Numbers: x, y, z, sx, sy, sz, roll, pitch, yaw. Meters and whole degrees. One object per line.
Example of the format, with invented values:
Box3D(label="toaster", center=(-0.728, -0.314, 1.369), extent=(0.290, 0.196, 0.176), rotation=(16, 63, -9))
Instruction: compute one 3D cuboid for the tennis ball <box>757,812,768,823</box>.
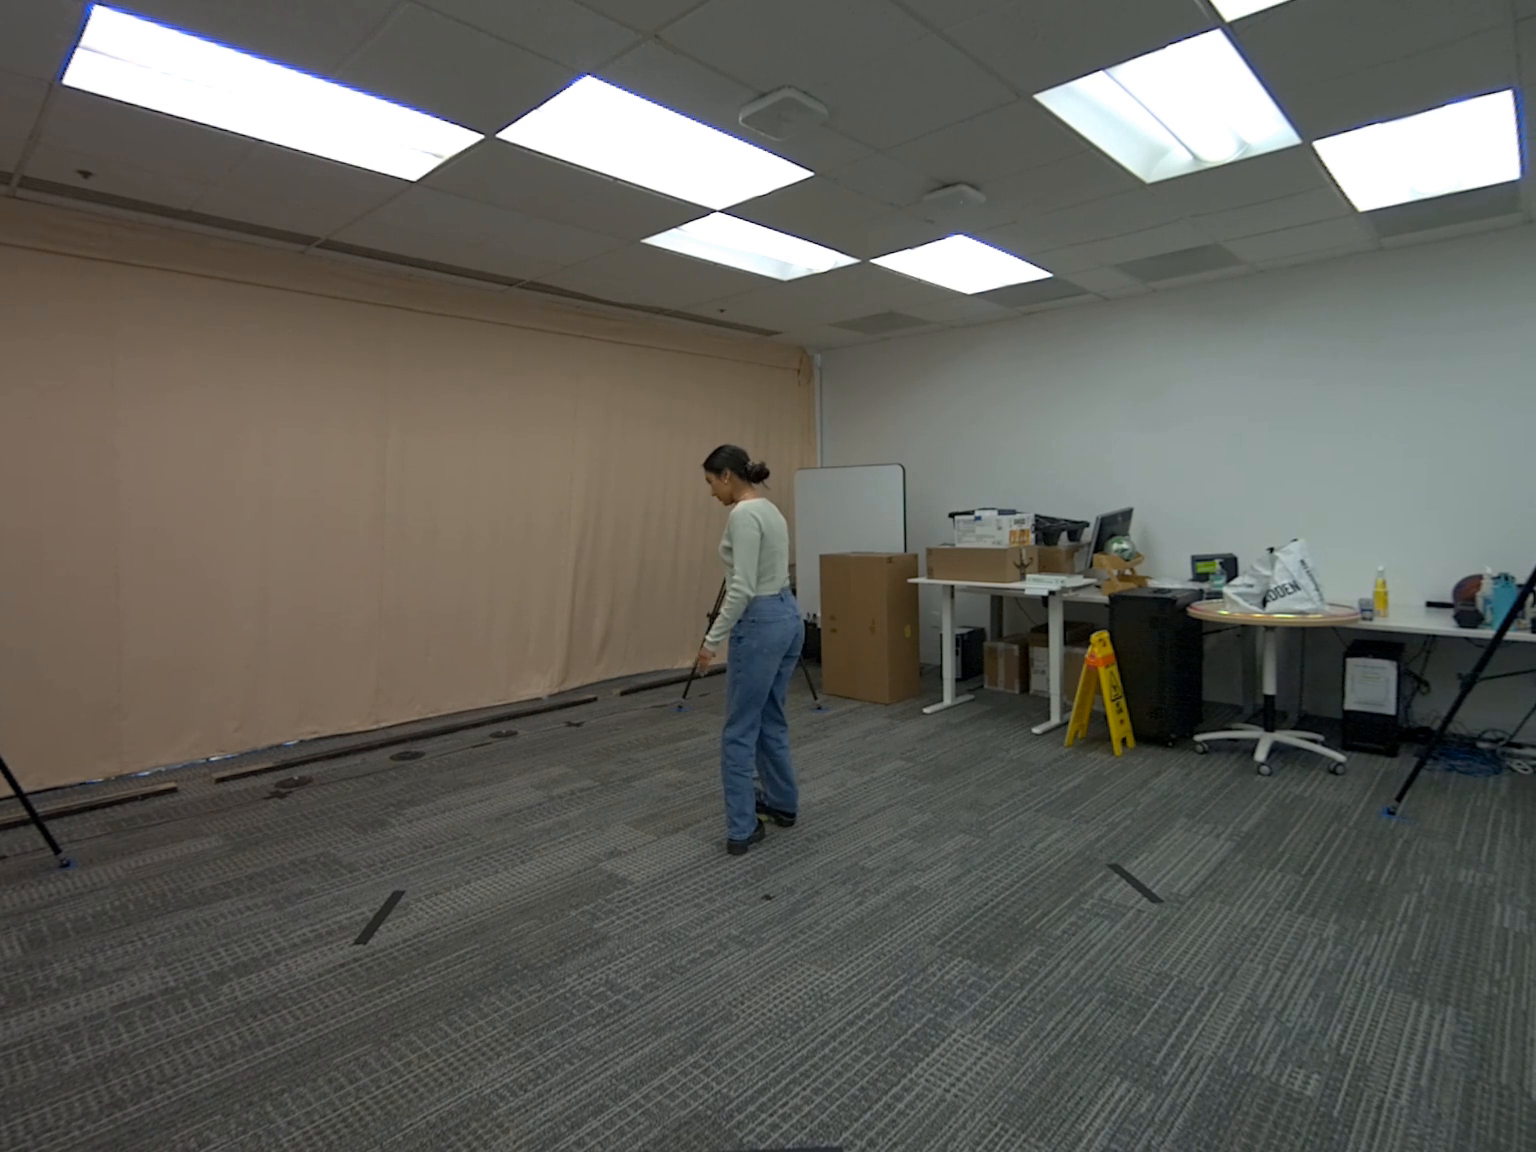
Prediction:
Box3D(label="tennis ball", center=(-0.021, 1.055, 3.721), extent=(0.066, 0.066, 0.067), rotation=(-1, 4, -2))
